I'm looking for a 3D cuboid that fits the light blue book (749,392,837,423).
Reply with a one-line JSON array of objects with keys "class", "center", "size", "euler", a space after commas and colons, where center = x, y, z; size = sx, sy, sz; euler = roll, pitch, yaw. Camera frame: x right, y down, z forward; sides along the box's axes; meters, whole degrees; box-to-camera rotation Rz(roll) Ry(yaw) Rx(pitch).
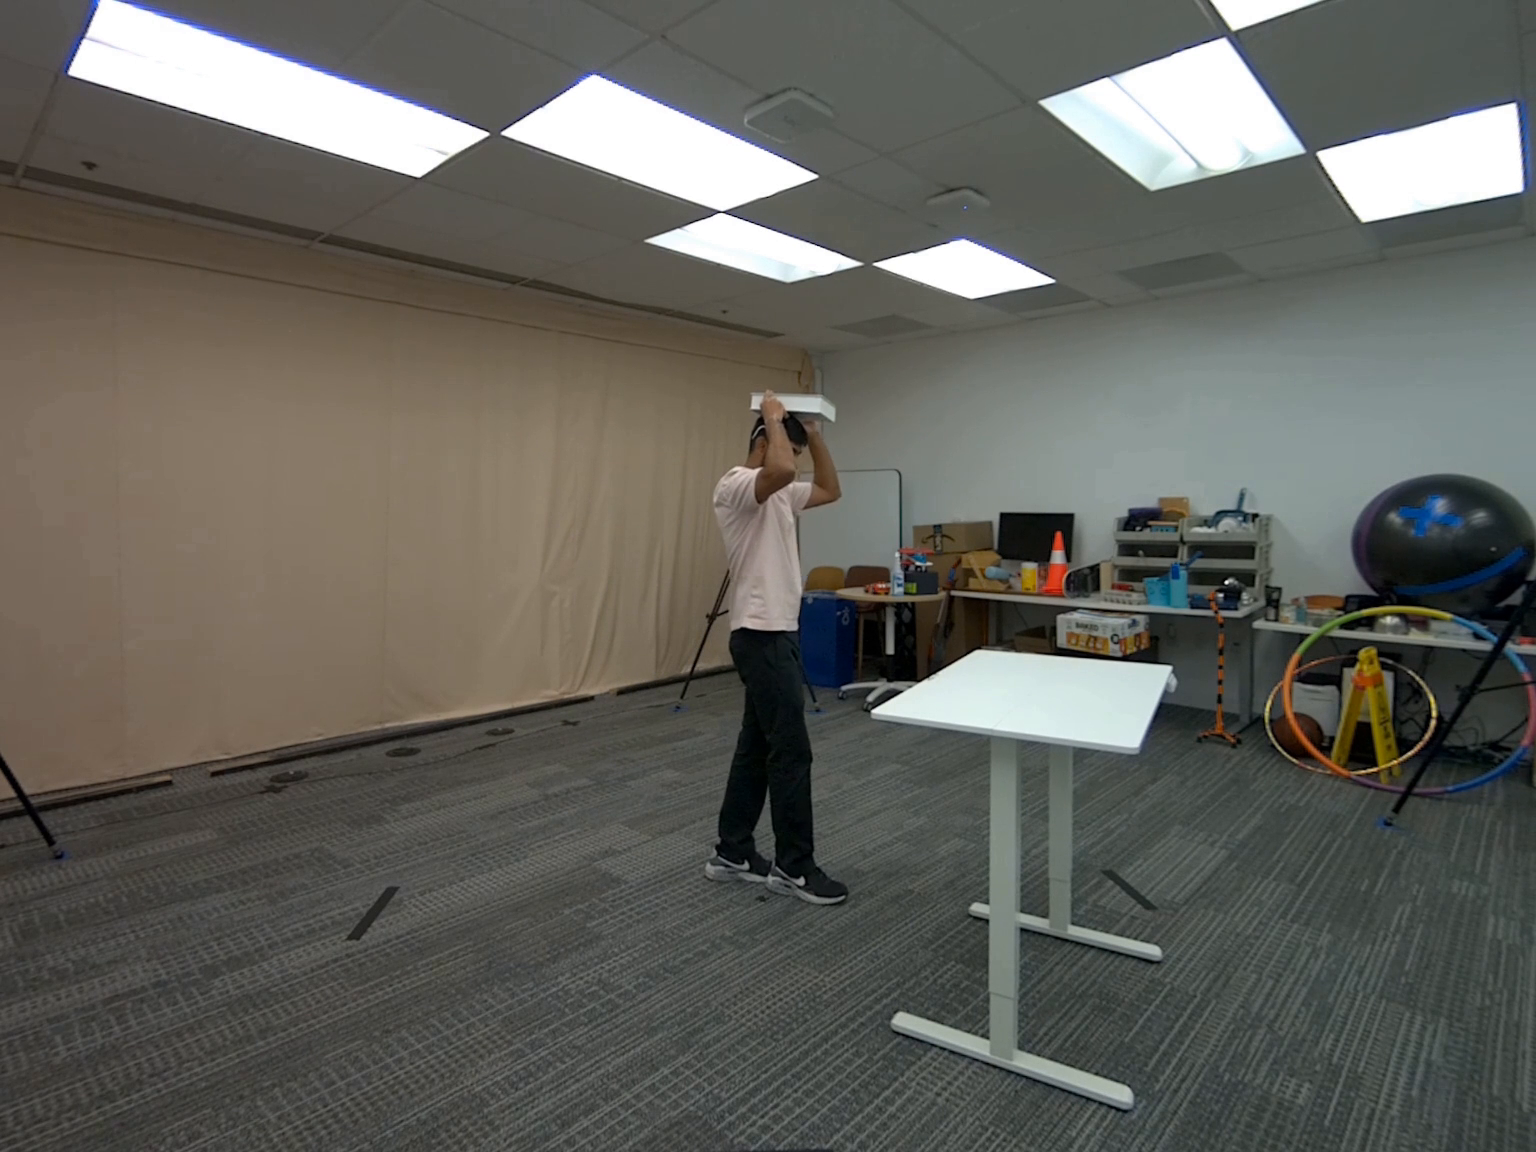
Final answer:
[{"class": "light blue book", "center": [0.091, -0.600, 3.019], "size": [0.267, 0.059, 0.187], "euler": [5, 0, 20]}]
